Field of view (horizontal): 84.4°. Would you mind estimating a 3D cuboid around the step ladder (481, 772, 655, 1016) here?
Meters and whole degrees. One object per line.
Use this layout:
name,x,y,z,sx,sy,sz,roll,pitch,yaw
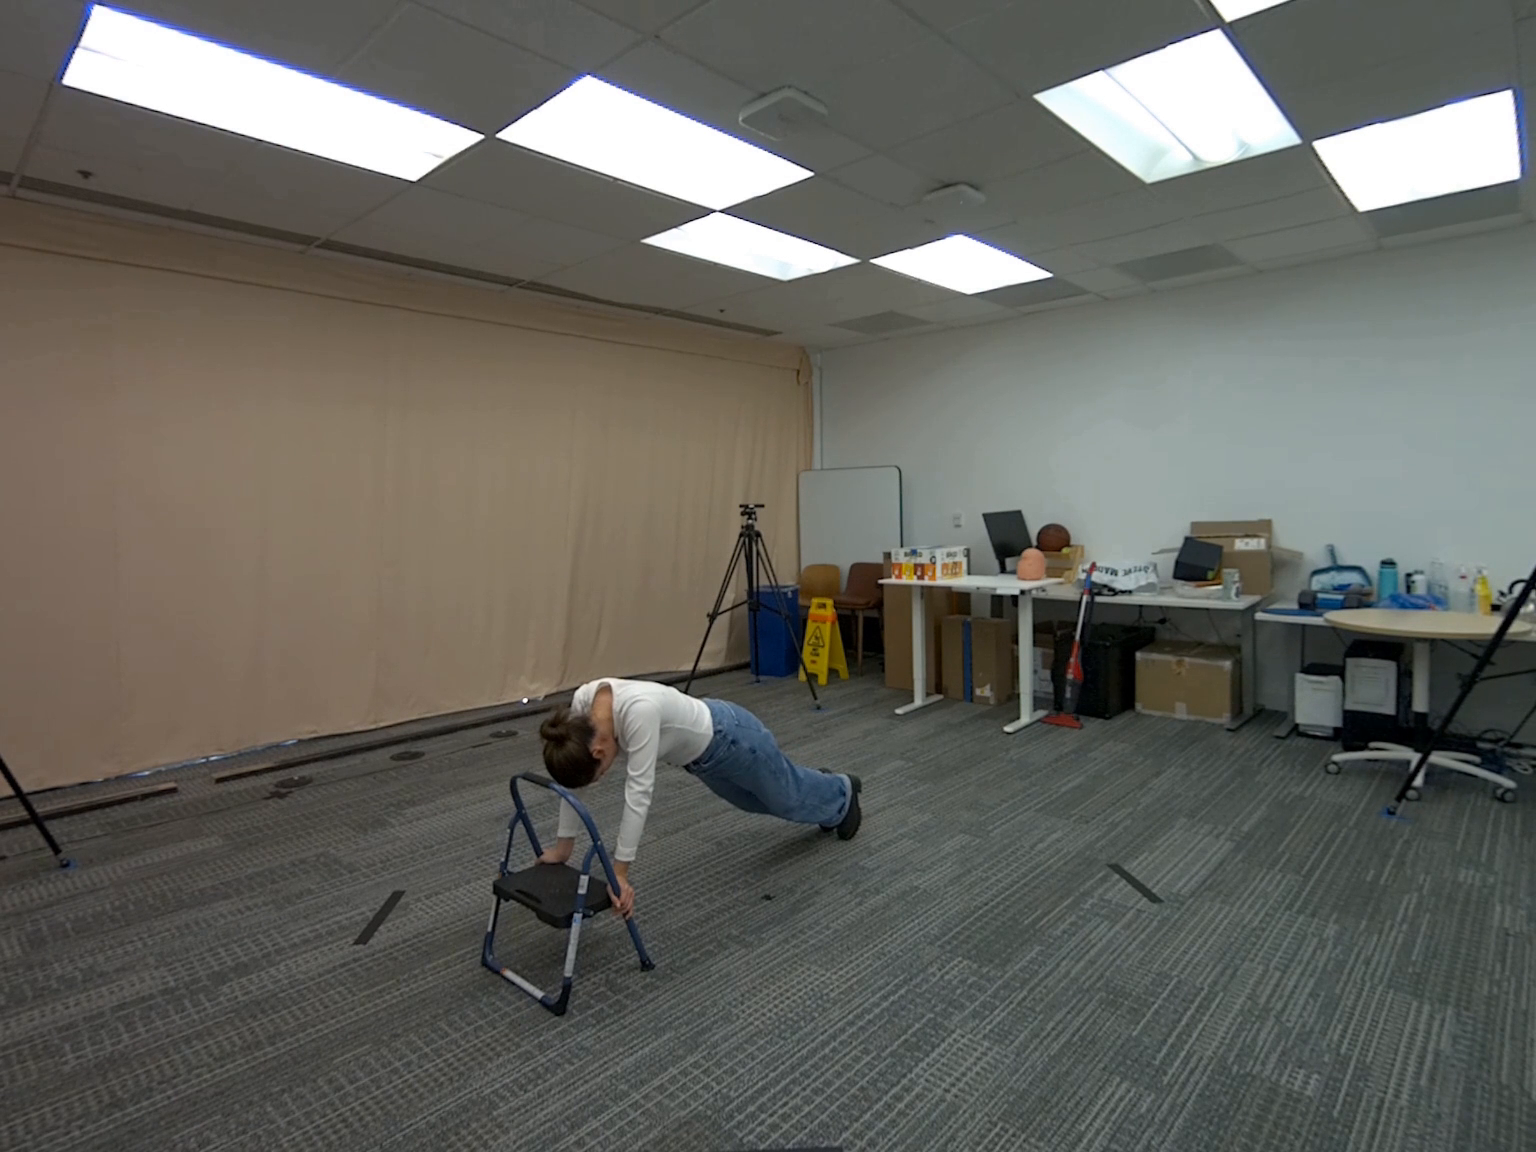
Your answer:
step ladder,-0.622,0.892,2.548,0.445,0.605,0.339,2,4,41
